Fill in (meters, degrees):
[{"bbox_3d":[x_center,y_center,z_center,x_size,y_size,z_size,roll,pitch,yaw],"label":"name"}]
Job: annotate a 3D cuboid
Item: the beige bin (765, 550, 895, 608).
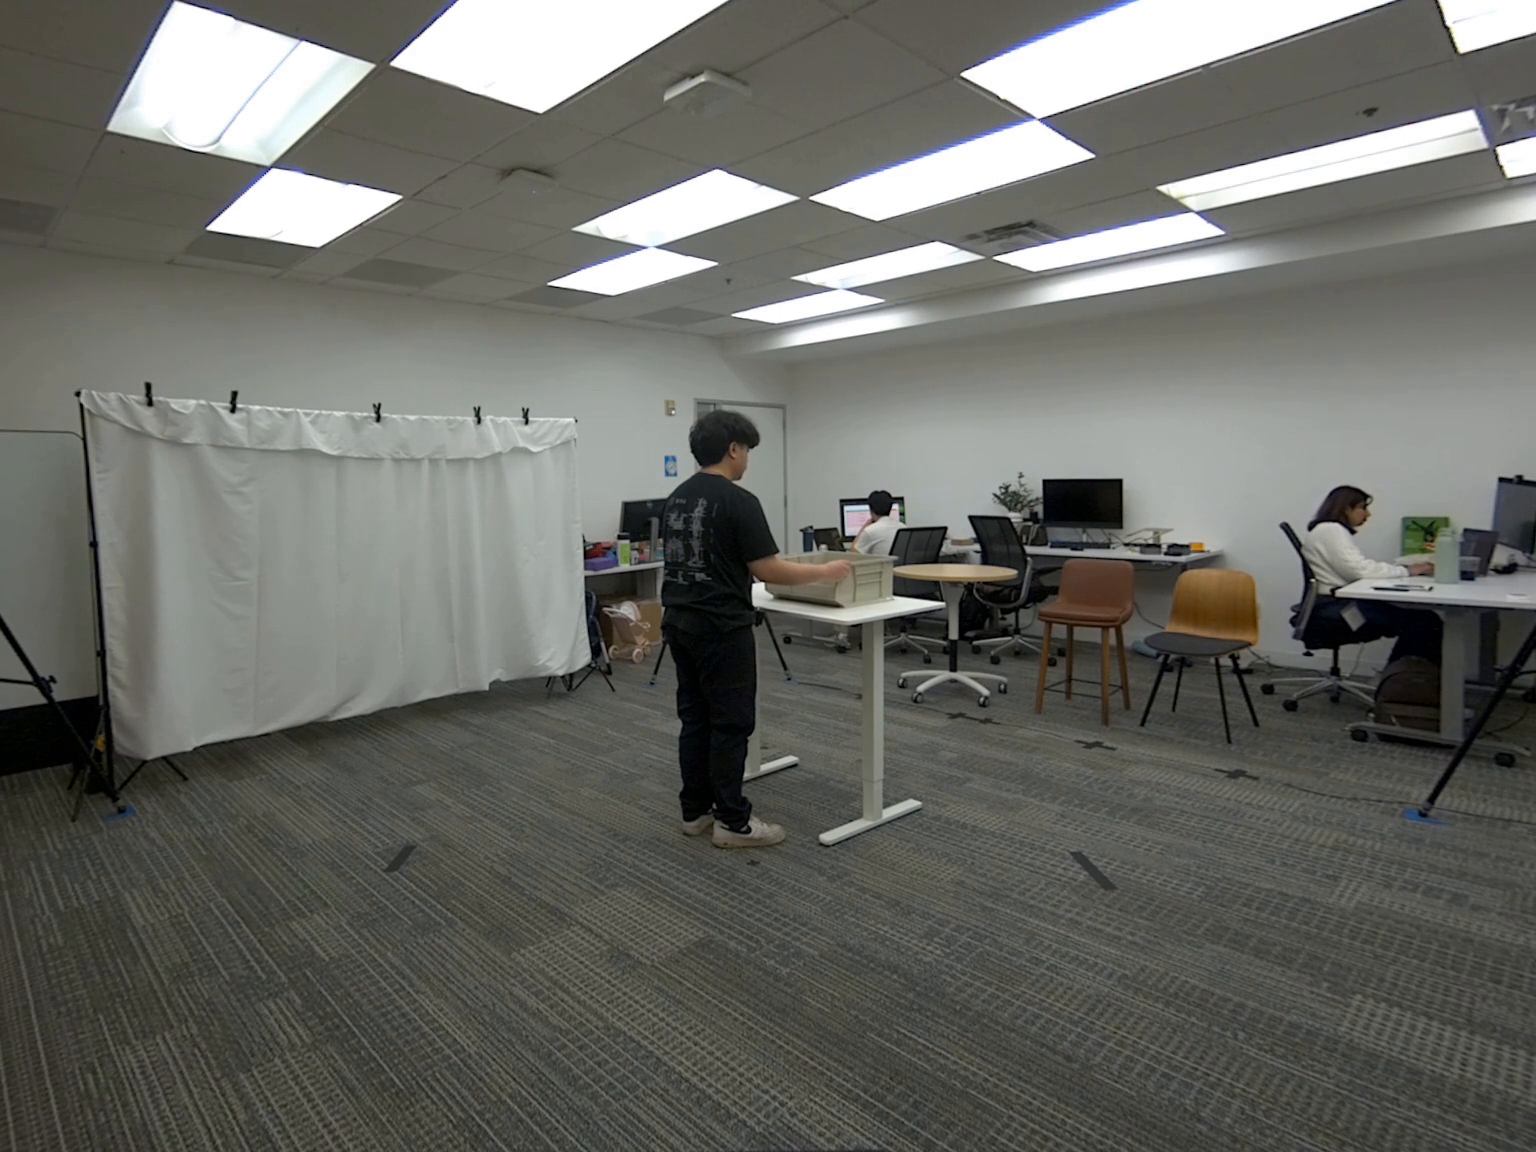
[{"bbox_3d":[0.257,0.011,3.589,0.367,0.188,0.435,-5,7,-41],"label":"beige bin"}]
